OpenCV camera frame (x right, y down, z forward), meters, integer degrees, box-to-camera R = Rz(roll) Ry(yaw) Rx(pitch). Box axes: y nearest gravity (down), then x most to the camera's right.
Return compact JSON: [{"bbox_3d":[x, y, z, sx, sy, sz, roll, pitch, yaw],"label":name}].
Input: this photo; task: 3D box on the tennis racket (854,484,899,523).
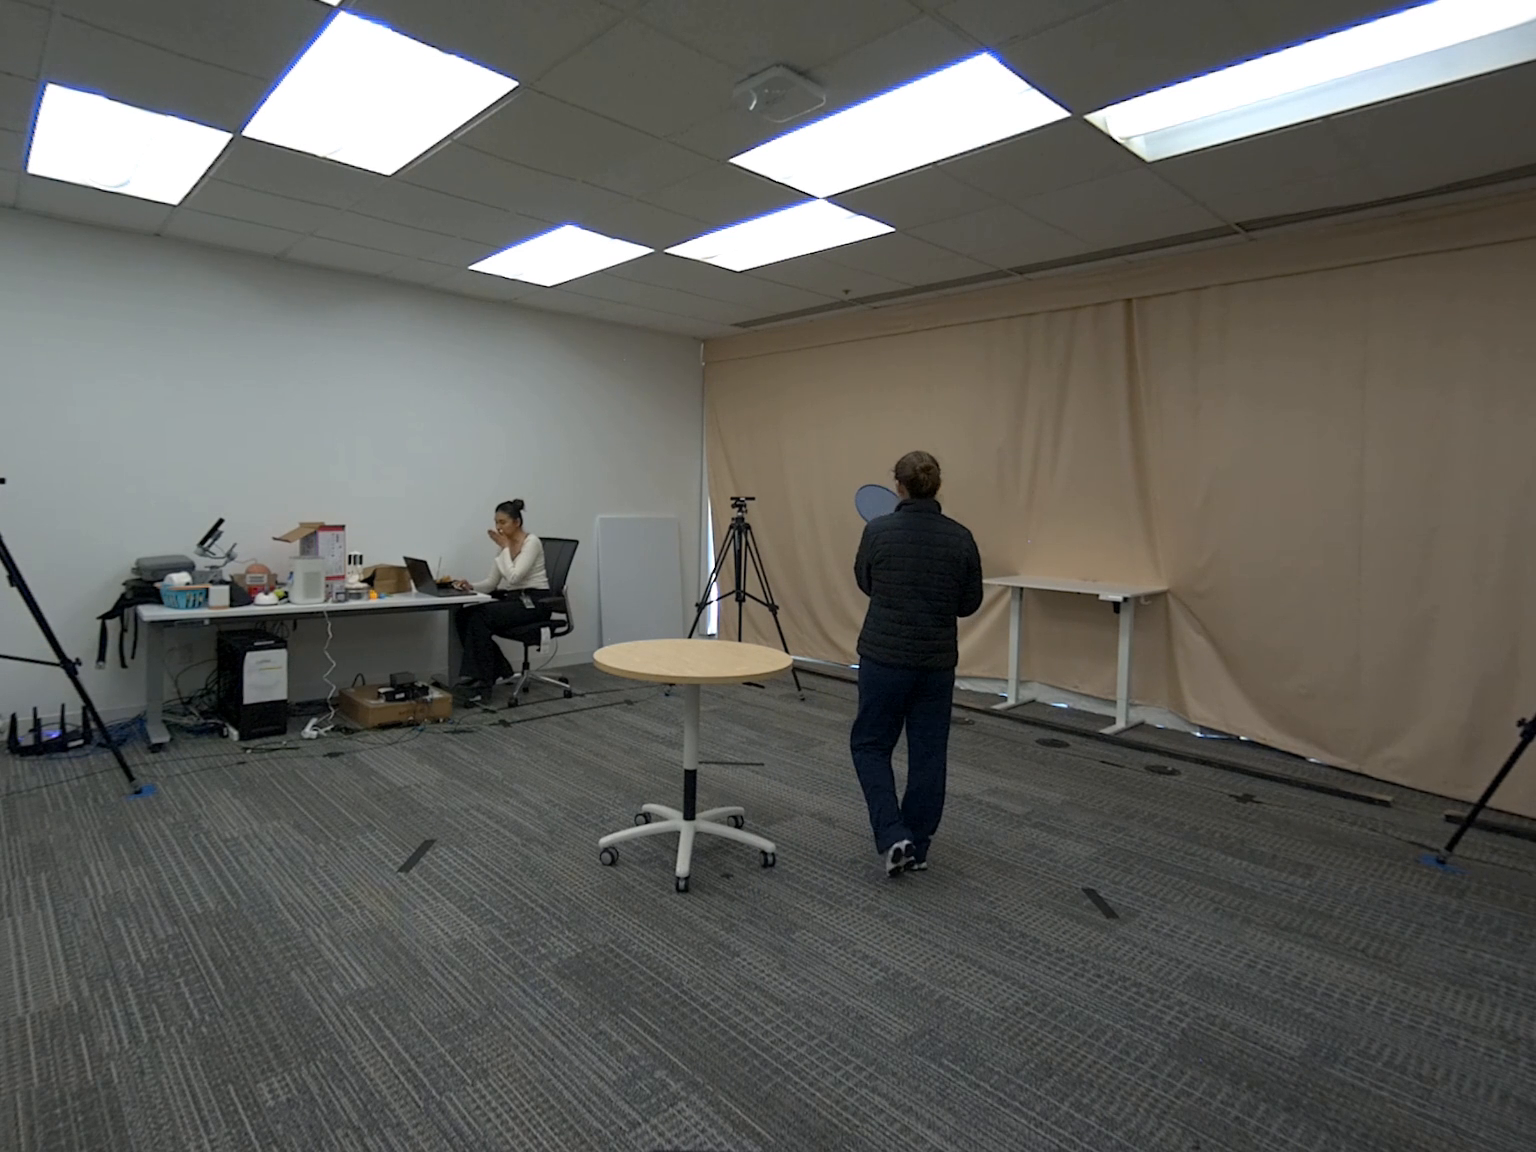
[{"bbox_3d":[0.493,-0.203,3.450,0.211,0.443,0.031,3,-33,-18],"label":"tennis racket"}]
